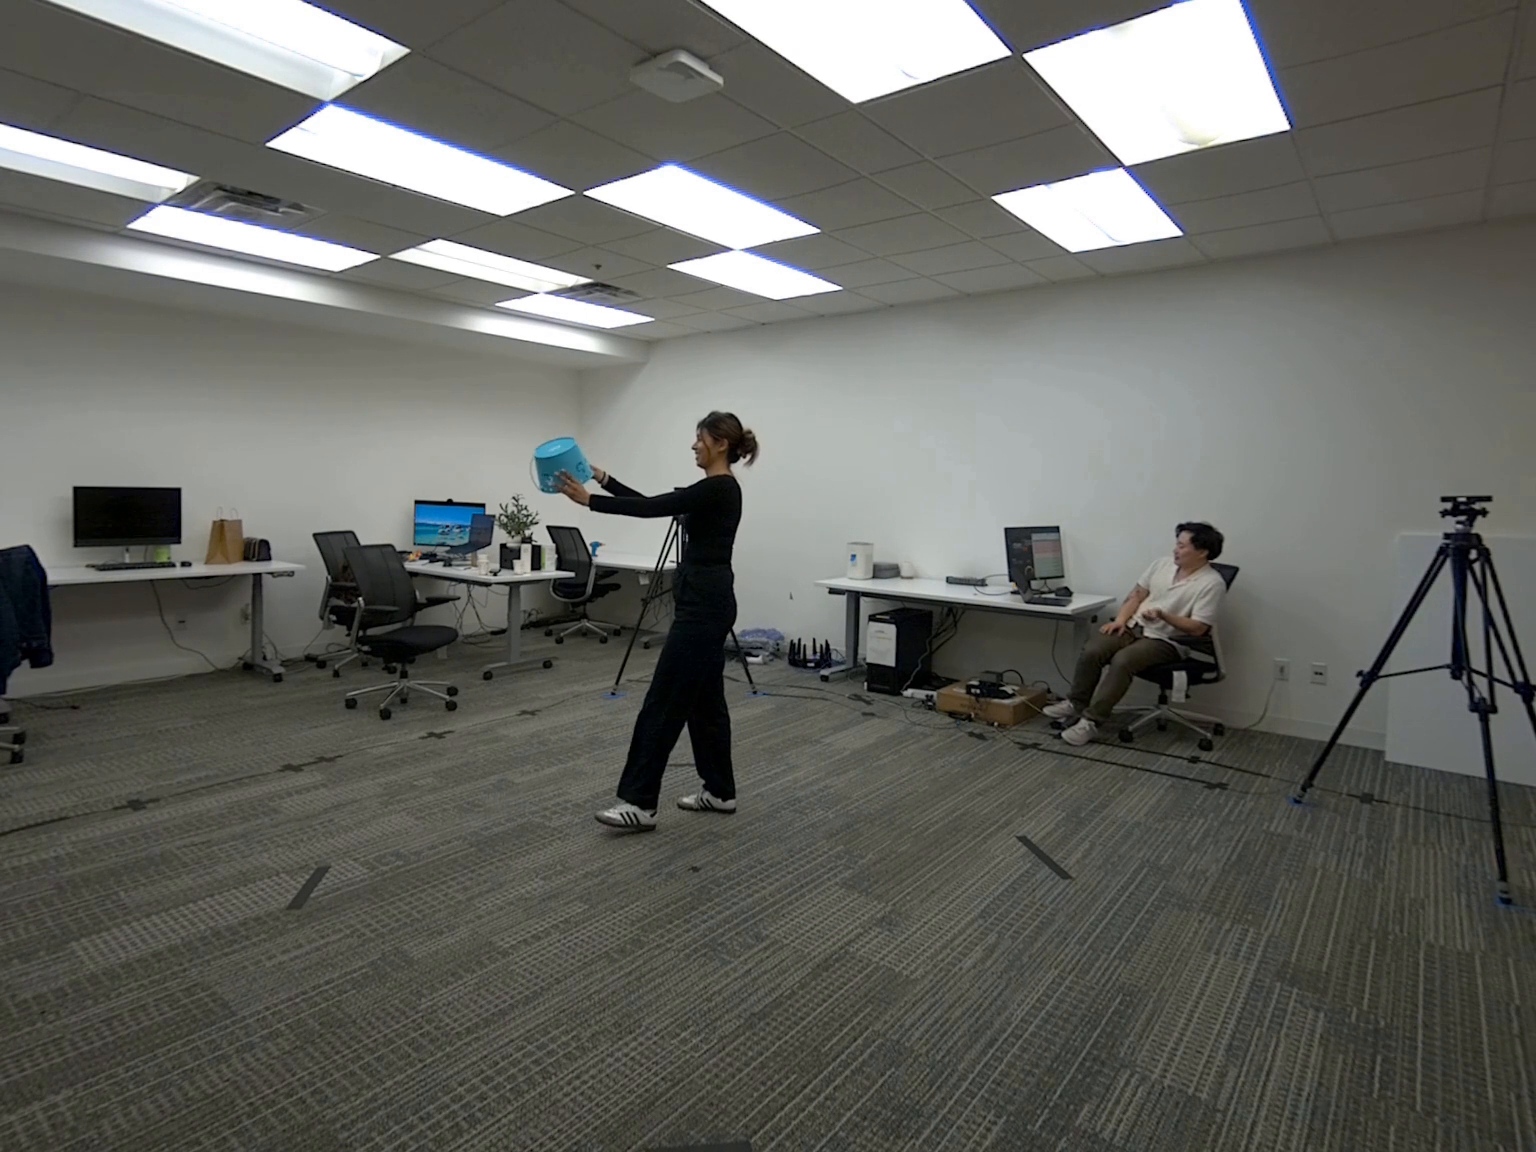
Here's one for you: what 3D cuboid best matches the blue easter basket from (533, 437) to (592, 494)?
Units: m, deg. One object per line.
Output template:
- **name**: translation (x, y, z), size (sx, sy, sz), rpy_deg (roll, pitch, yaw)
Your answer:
- **blue easter basket**: translation (-0.872, -0.464, 3.468), size (0.245, 0.151, 0.250), rpy_deg (-10, 31, 4)
